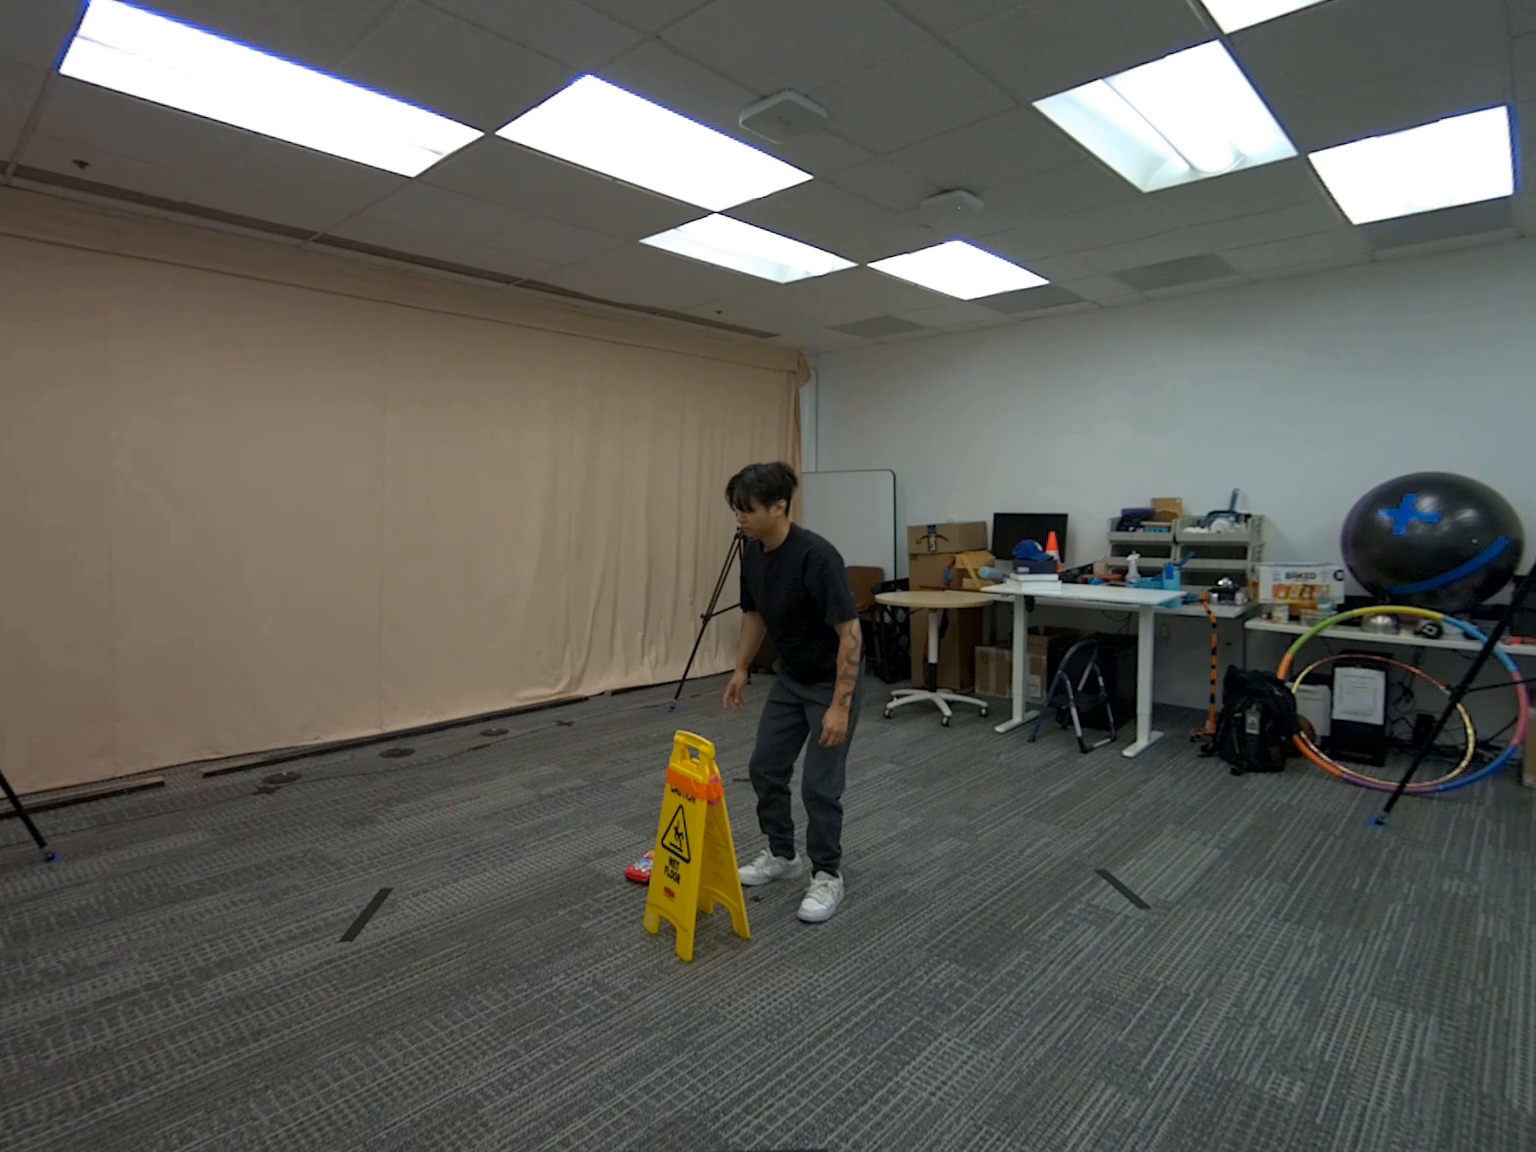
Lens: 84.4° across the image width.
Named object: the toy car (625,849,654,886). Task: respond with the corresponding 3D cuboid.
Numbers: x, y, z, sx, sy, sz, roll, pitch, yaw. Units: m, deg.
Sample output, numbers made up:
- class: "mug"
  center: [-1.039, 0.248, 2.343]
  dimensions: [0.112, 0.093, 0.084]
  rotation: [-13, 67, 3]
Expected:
- class: "toy car"
  center: [-0.434, 1.099, 3.206]
  dimensions: [0.134, 0.082, 0.250]
  rotation: [1, 15, 28]
